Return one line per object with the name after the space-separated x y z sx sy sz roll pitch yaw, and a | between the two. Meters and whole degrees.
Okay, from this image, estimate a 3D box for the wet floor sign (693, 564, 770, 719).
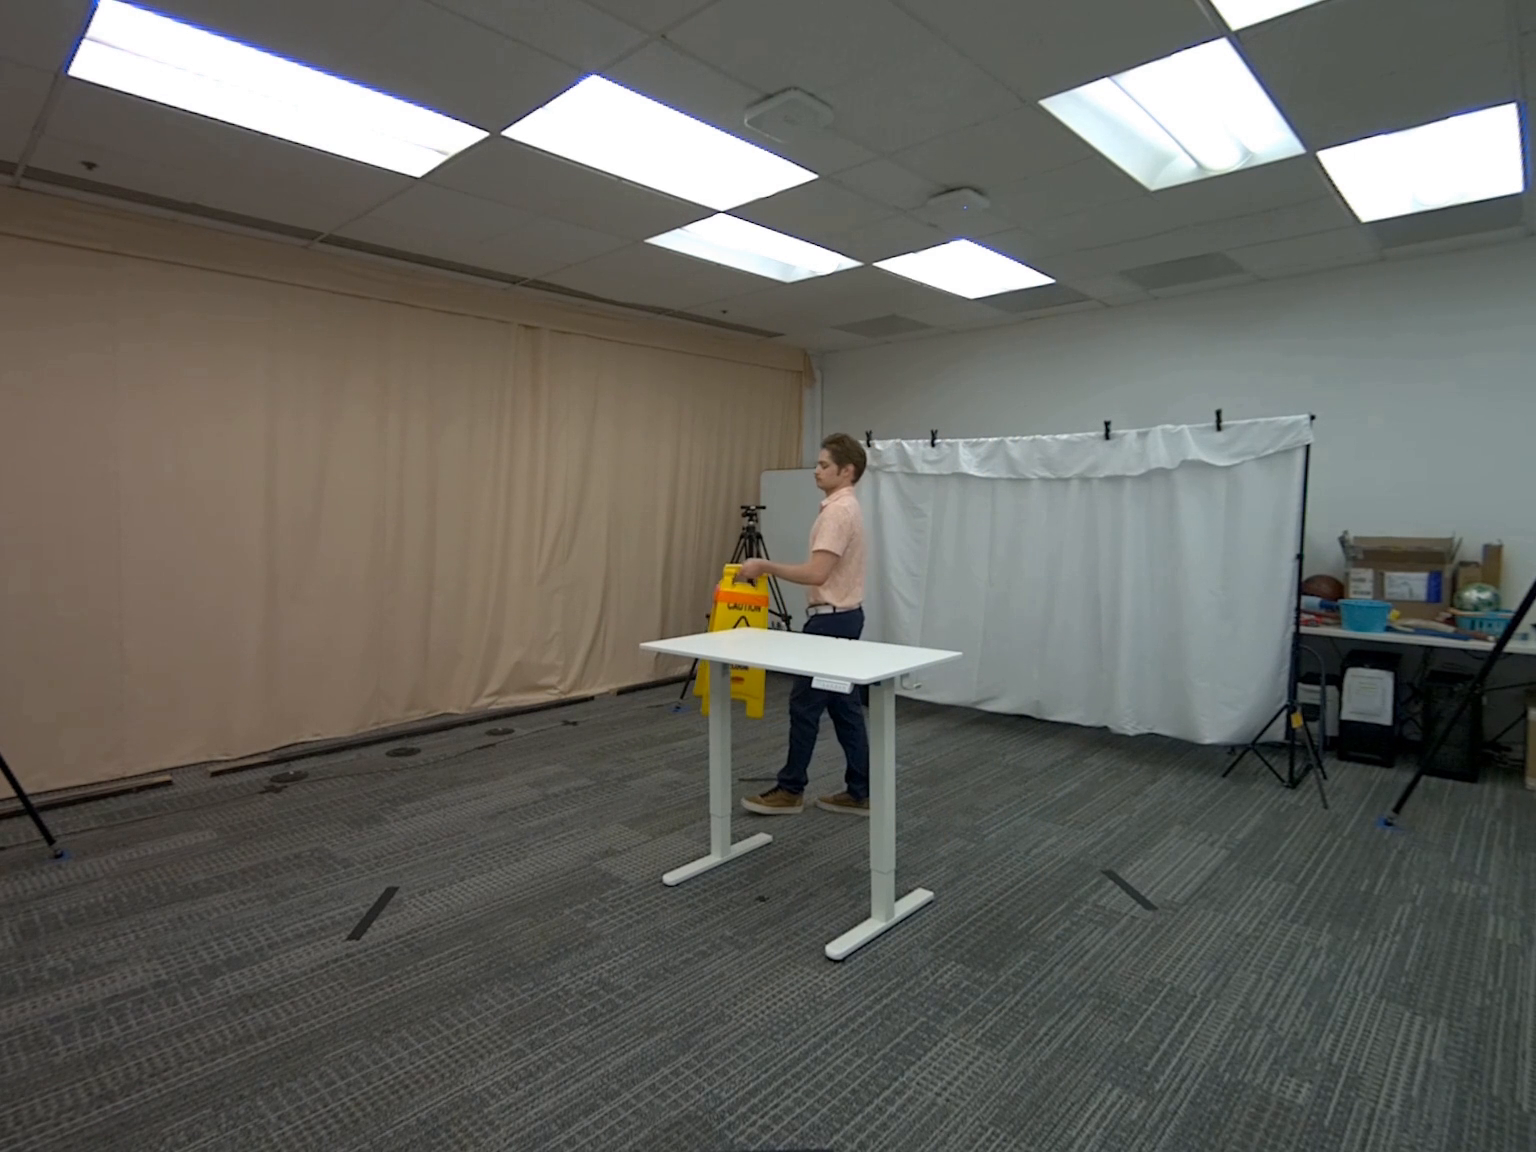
-0.142 0.272 3.776 0.278 0.643 0.295 5 10 -13 | wet floor sign
